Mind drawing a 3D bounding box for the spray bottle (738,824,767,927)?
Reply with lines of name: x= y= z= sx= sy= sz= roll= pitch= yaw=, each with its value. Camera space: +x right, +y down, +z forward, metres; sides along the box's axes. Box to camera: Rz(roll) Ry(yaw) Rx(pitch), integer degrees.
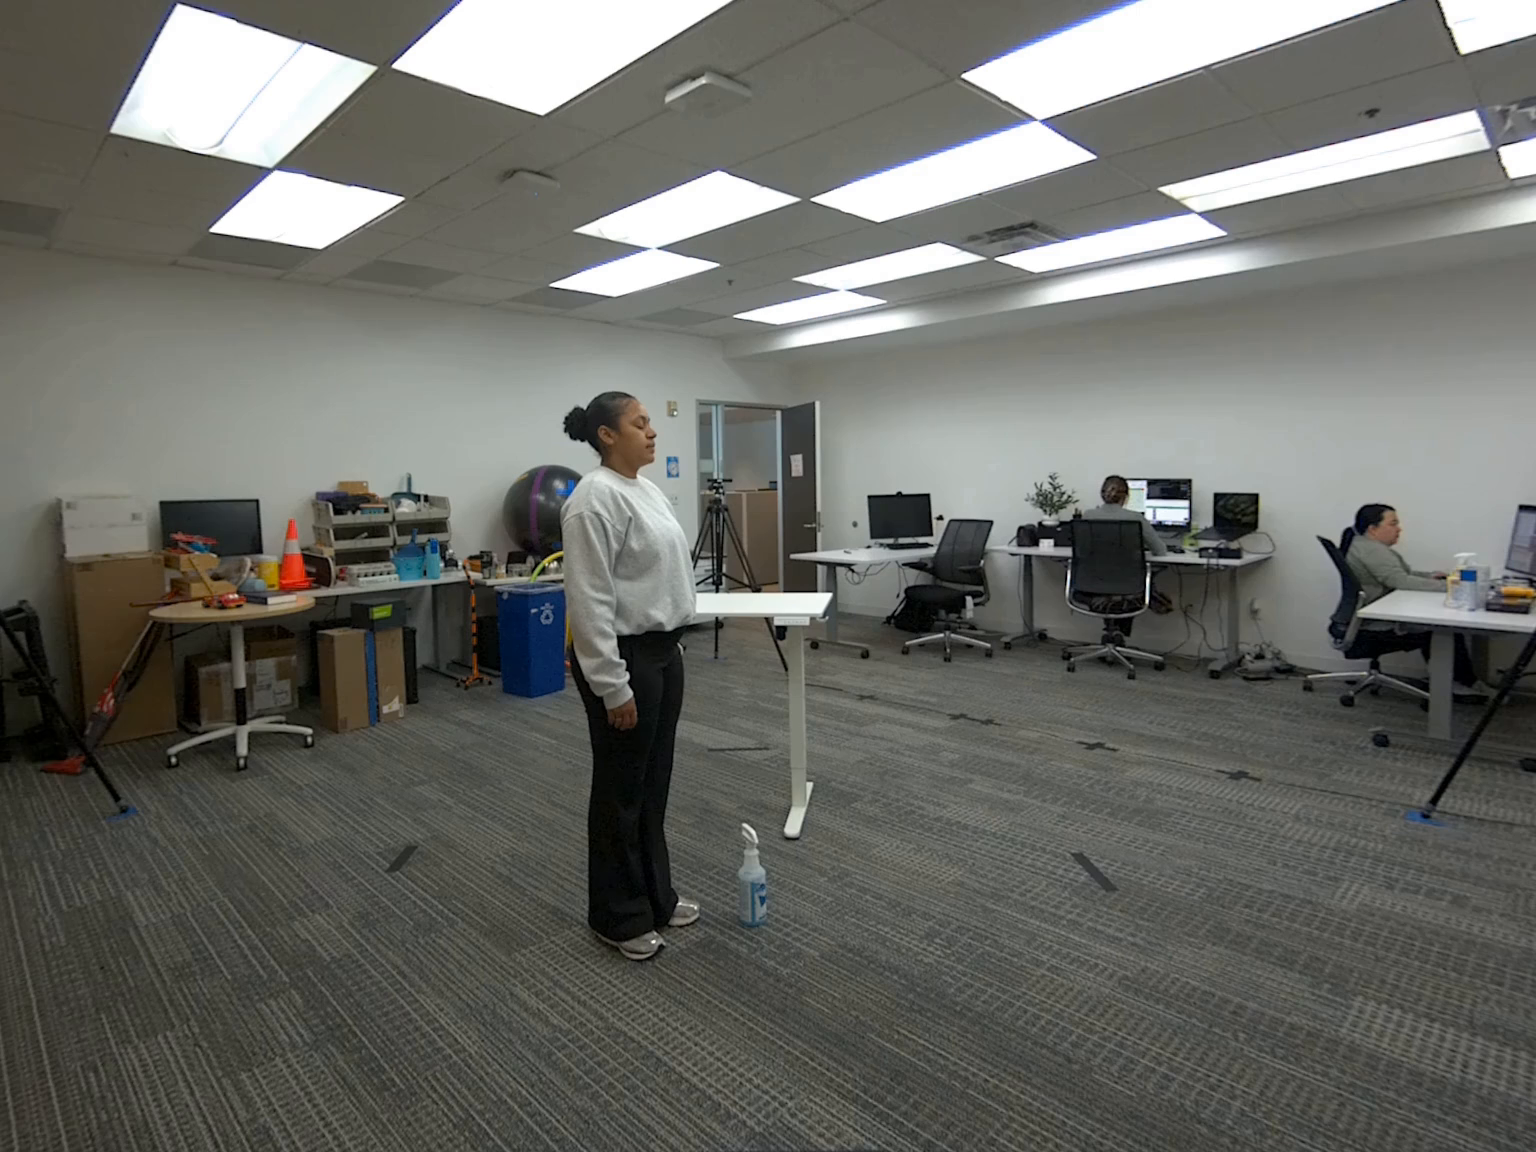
spray bottle: x=-0.058 y=0.941 z=2.695 sx=0.087 sy=0.297 sz=0.090 roll=1 pitch=2 yaw=0
